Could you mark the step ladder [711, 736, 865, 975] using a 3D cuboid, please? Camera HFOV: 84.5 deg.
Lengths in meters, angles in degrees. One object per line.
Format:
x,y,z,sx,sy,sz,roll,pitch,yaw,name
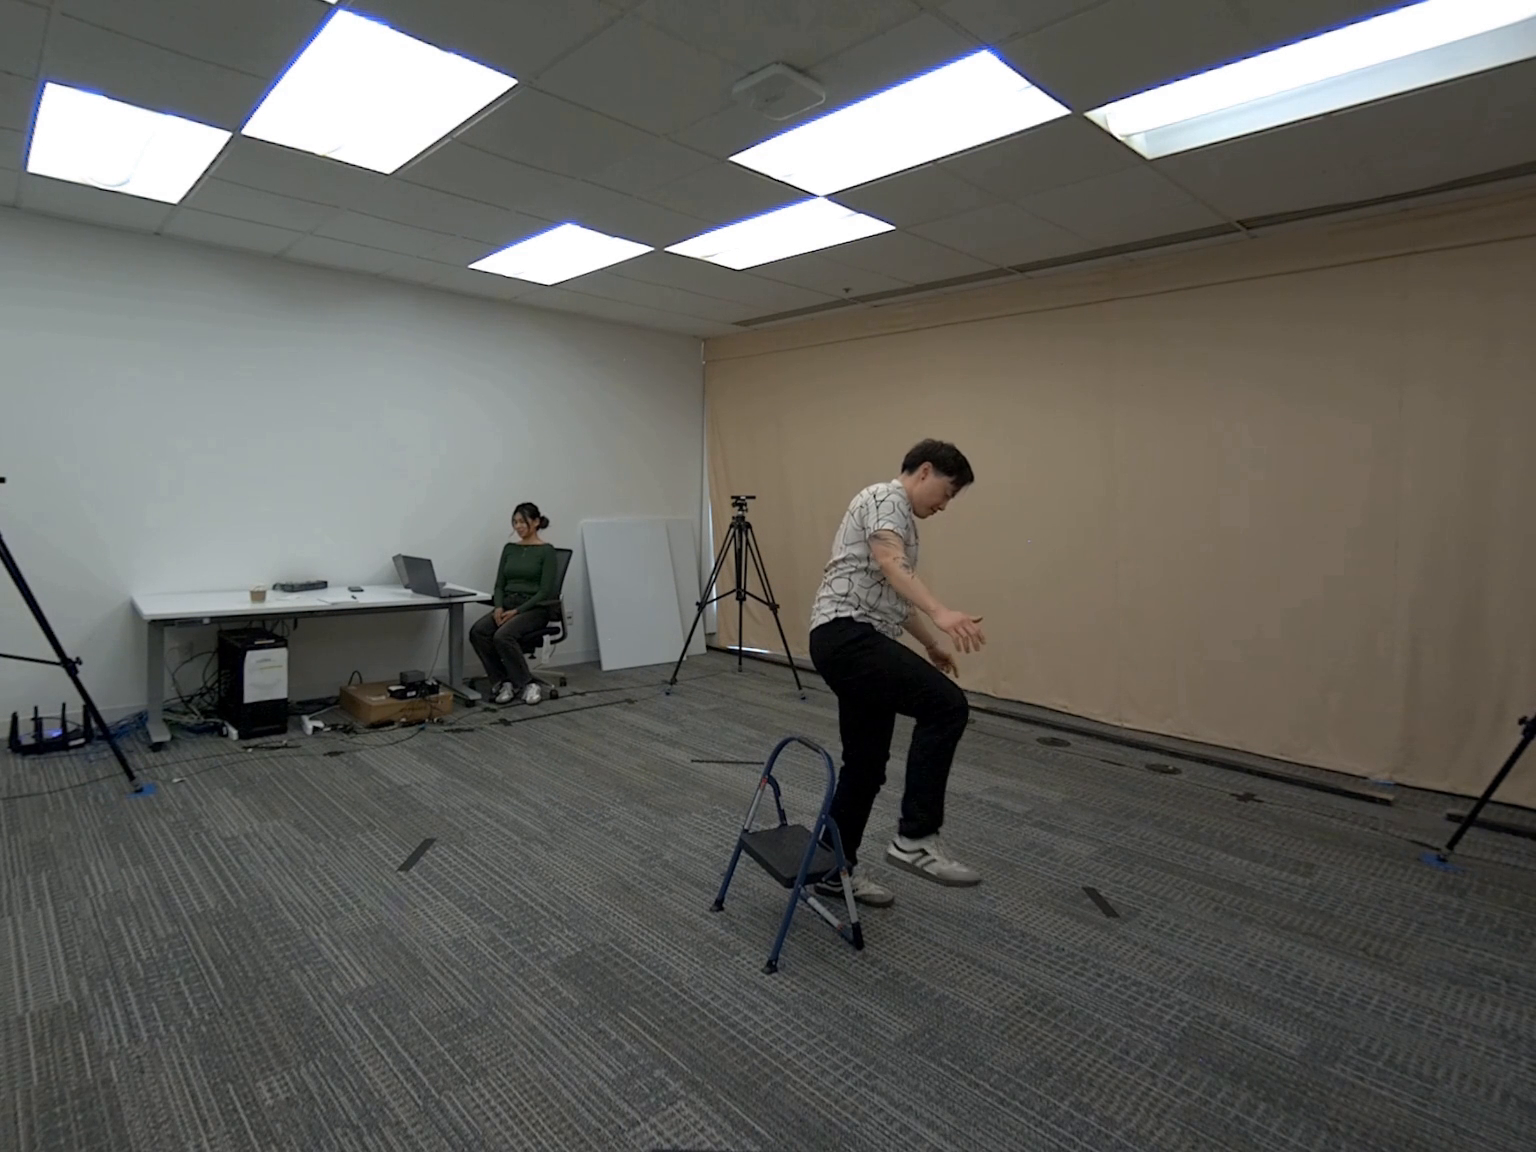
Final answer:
0.057,0.841,2.700,0.343,0.604,0.440,0,4,-26,step ladder
